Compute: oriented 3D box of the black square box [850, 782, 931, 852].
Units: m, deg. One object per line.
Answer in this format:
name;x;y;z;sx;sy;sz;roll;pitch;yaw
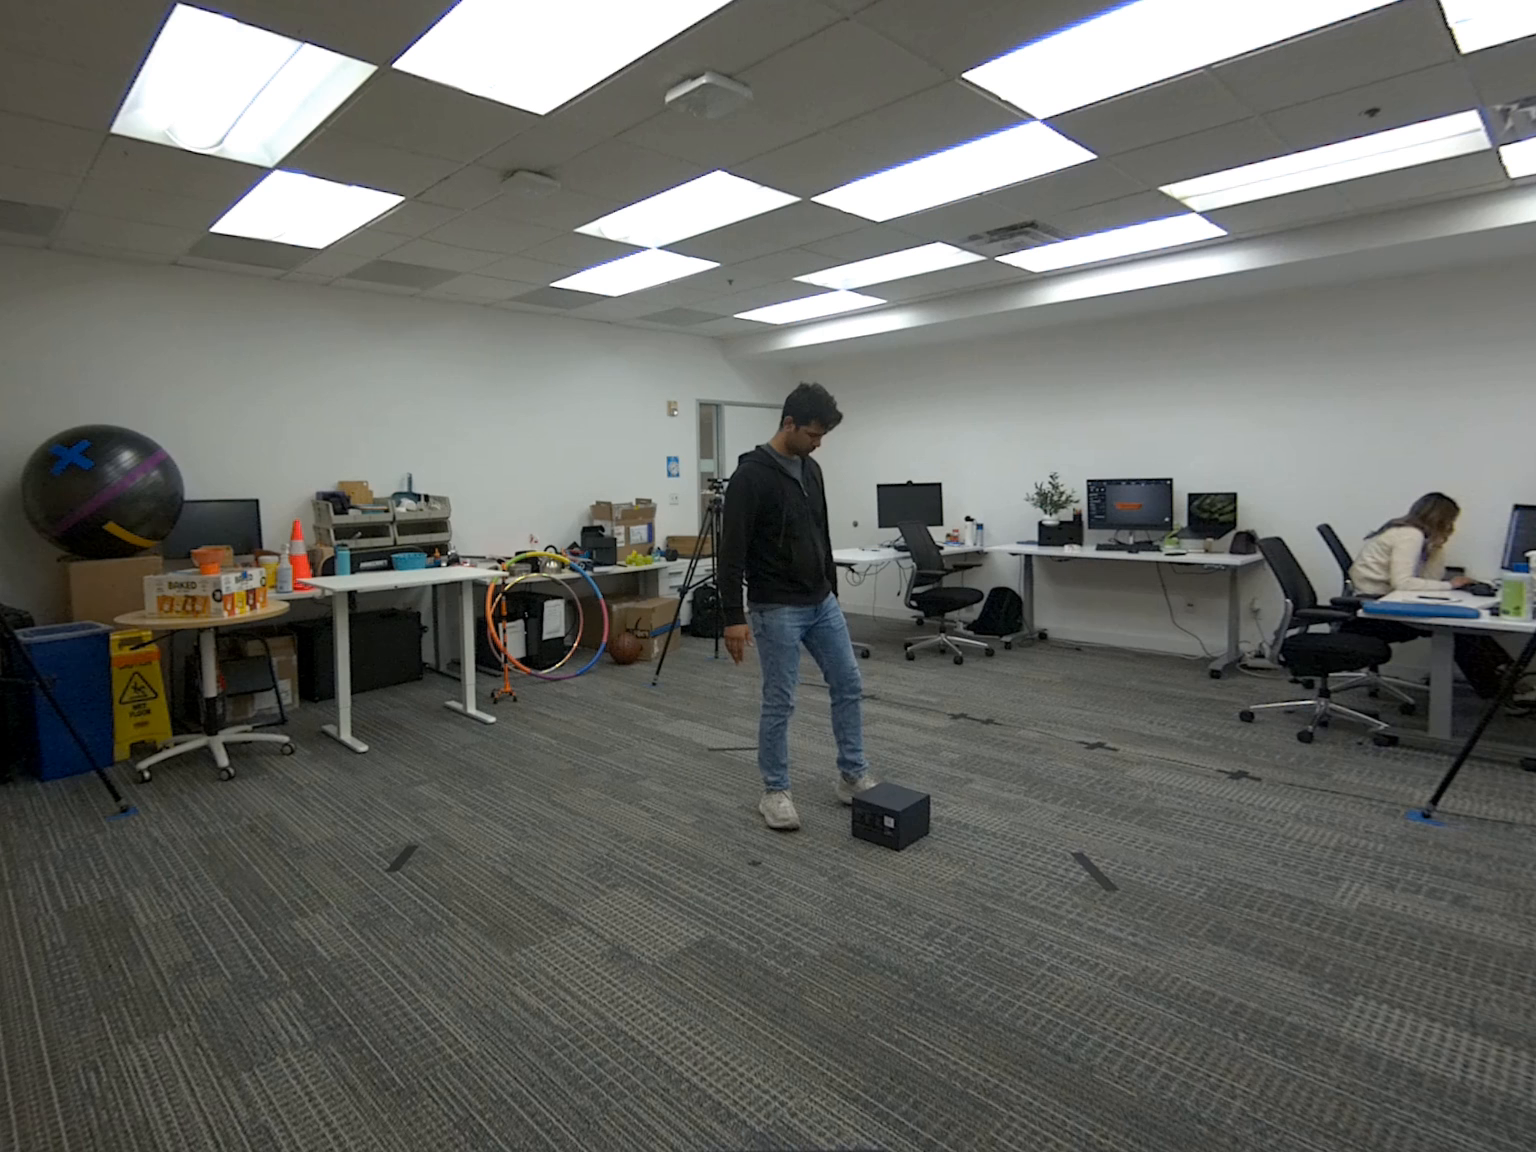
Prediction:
black square box;0.478;0.928;3.333;0.223;0.155;0.222;4;7;41
